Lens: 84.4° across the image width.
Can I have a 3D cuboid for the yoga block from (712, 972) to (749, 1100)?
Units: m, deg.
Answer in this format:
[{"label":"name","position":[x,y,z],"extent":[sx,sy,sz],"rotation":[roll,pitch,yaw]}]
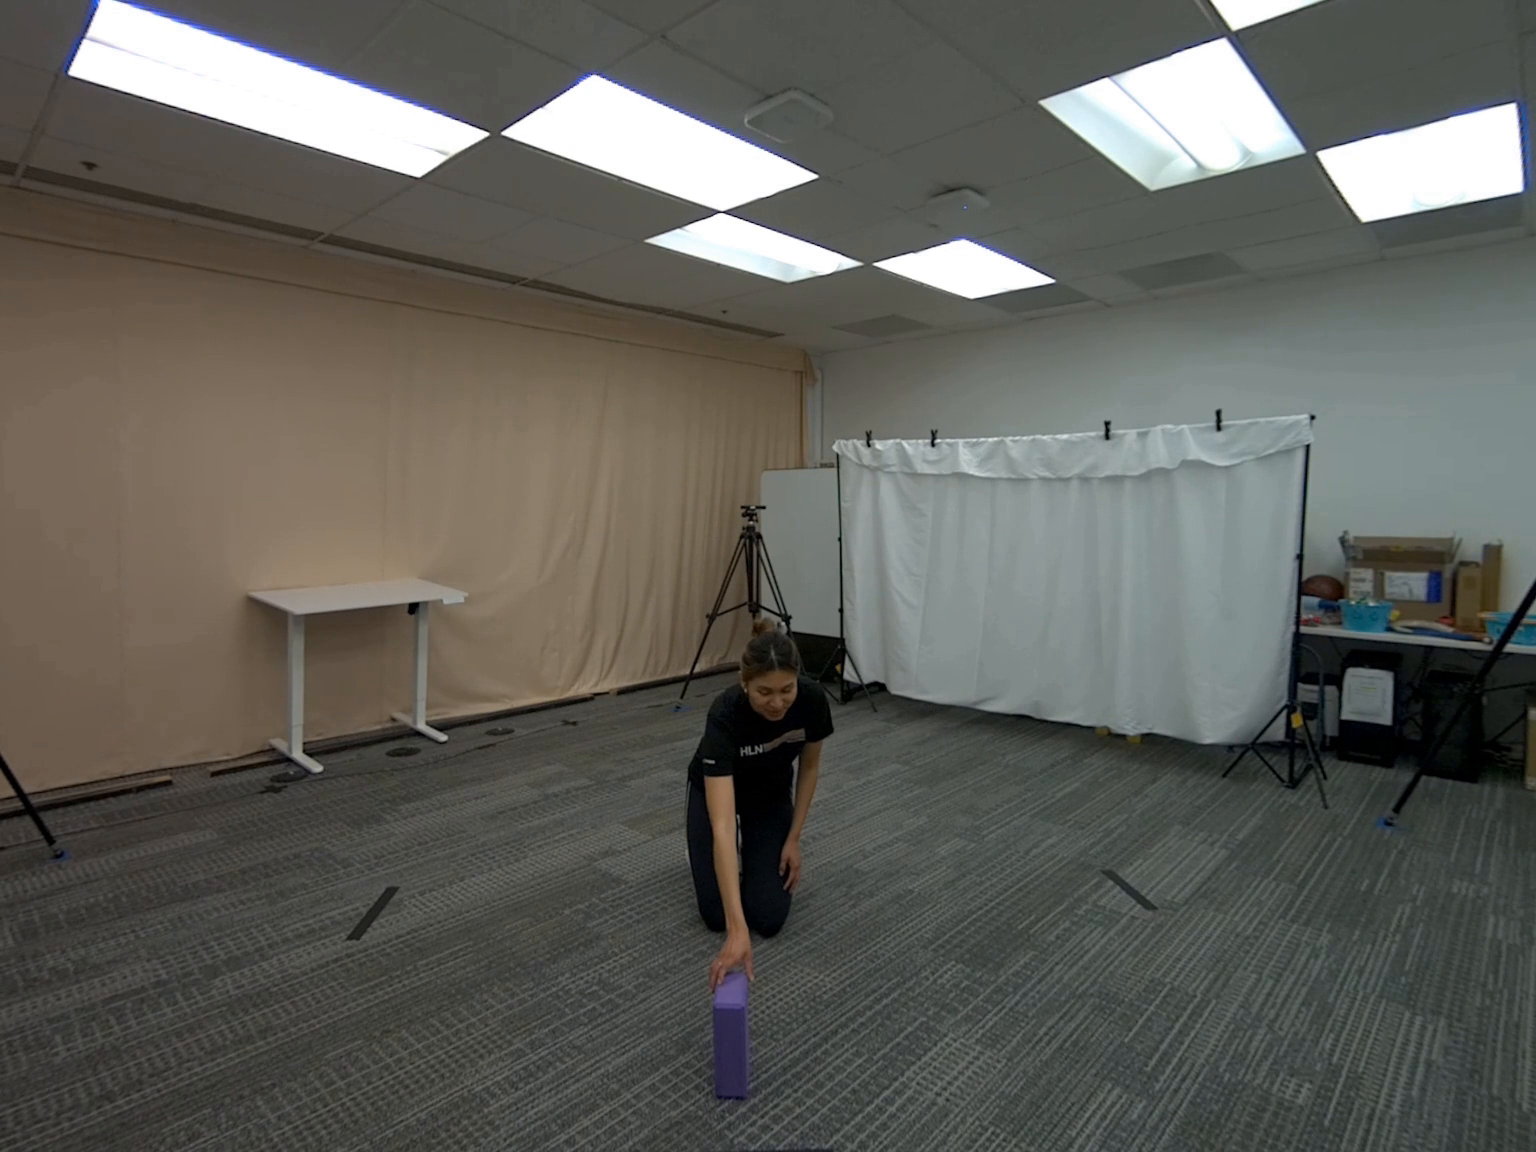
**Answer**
[{"label":"yoga block","position":[-0.087,1.104,2.040],"extent":[0.077,0.229,0.148],"rotation":[1,4,6]}]
